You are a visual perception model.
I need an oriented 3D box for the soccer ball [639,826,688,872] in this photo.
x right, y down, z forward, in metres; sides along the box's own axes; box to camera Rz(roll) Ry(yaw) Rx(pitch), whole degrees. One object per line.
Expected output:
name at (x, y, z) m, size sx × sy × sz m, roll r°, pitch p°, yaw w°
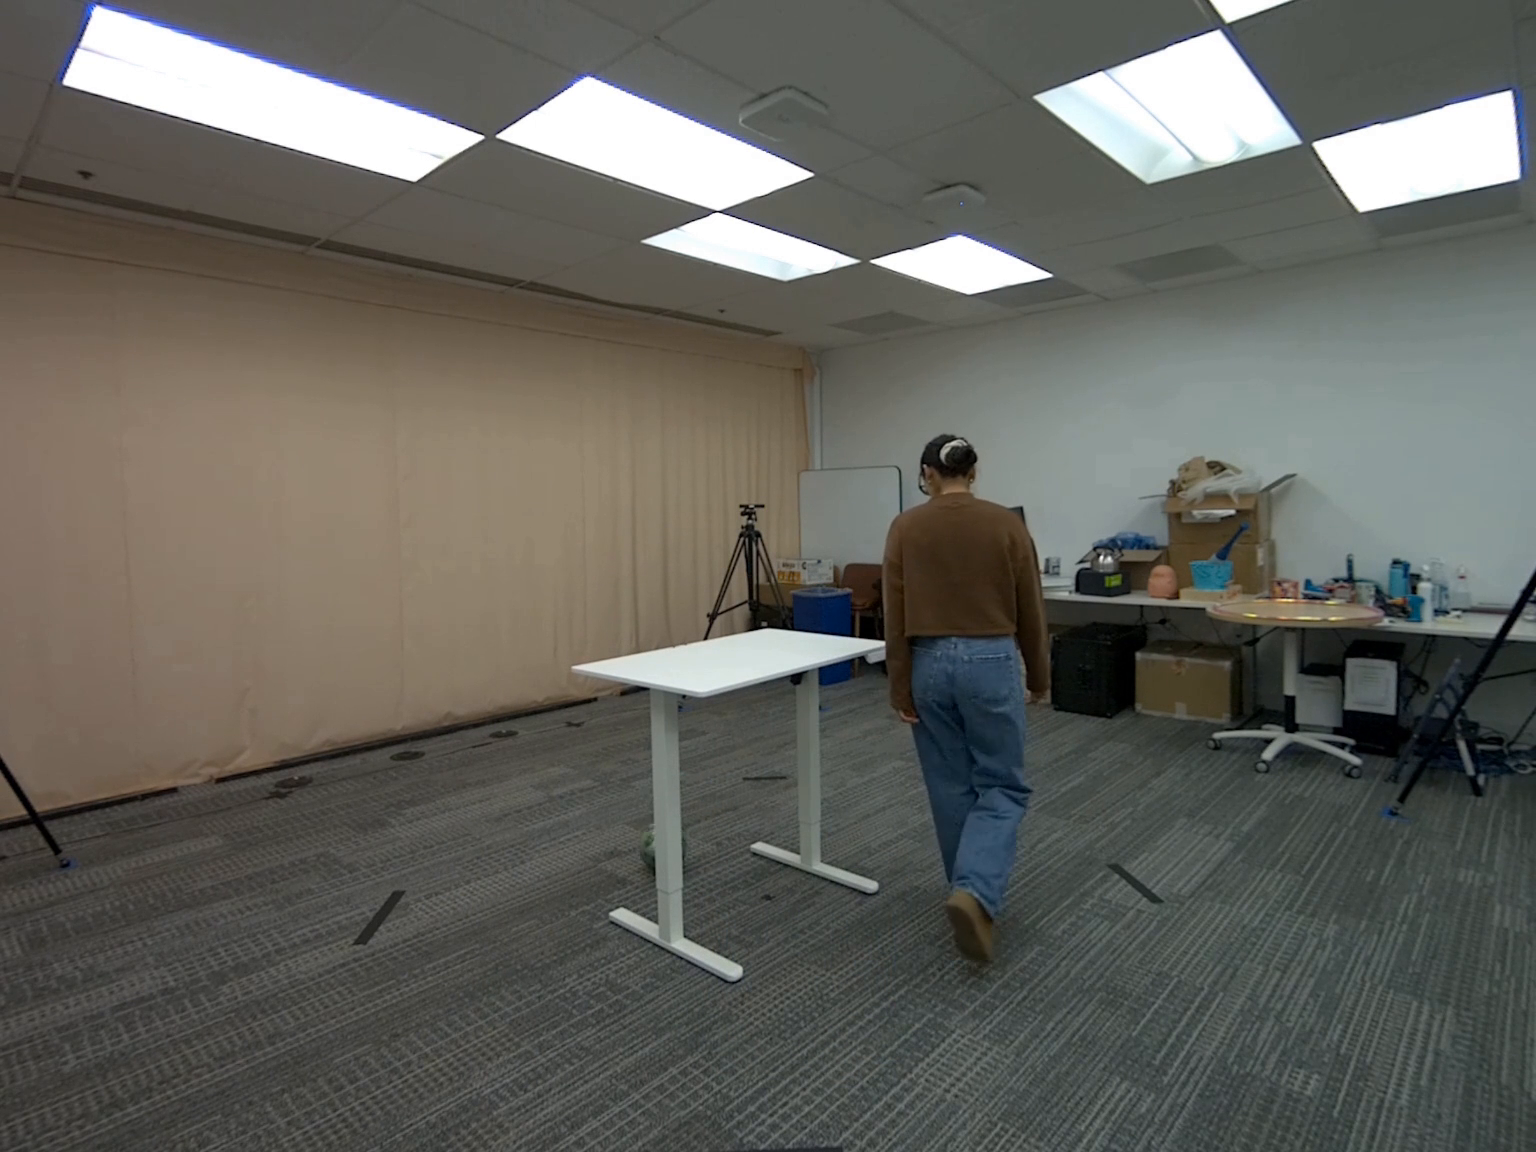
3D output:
soccer ball at (-0.401, 1.036, 3.230) m, size 0.187 × 0.187 × 0.188 m, roll -1°, pitch 4°, yaw -2°
